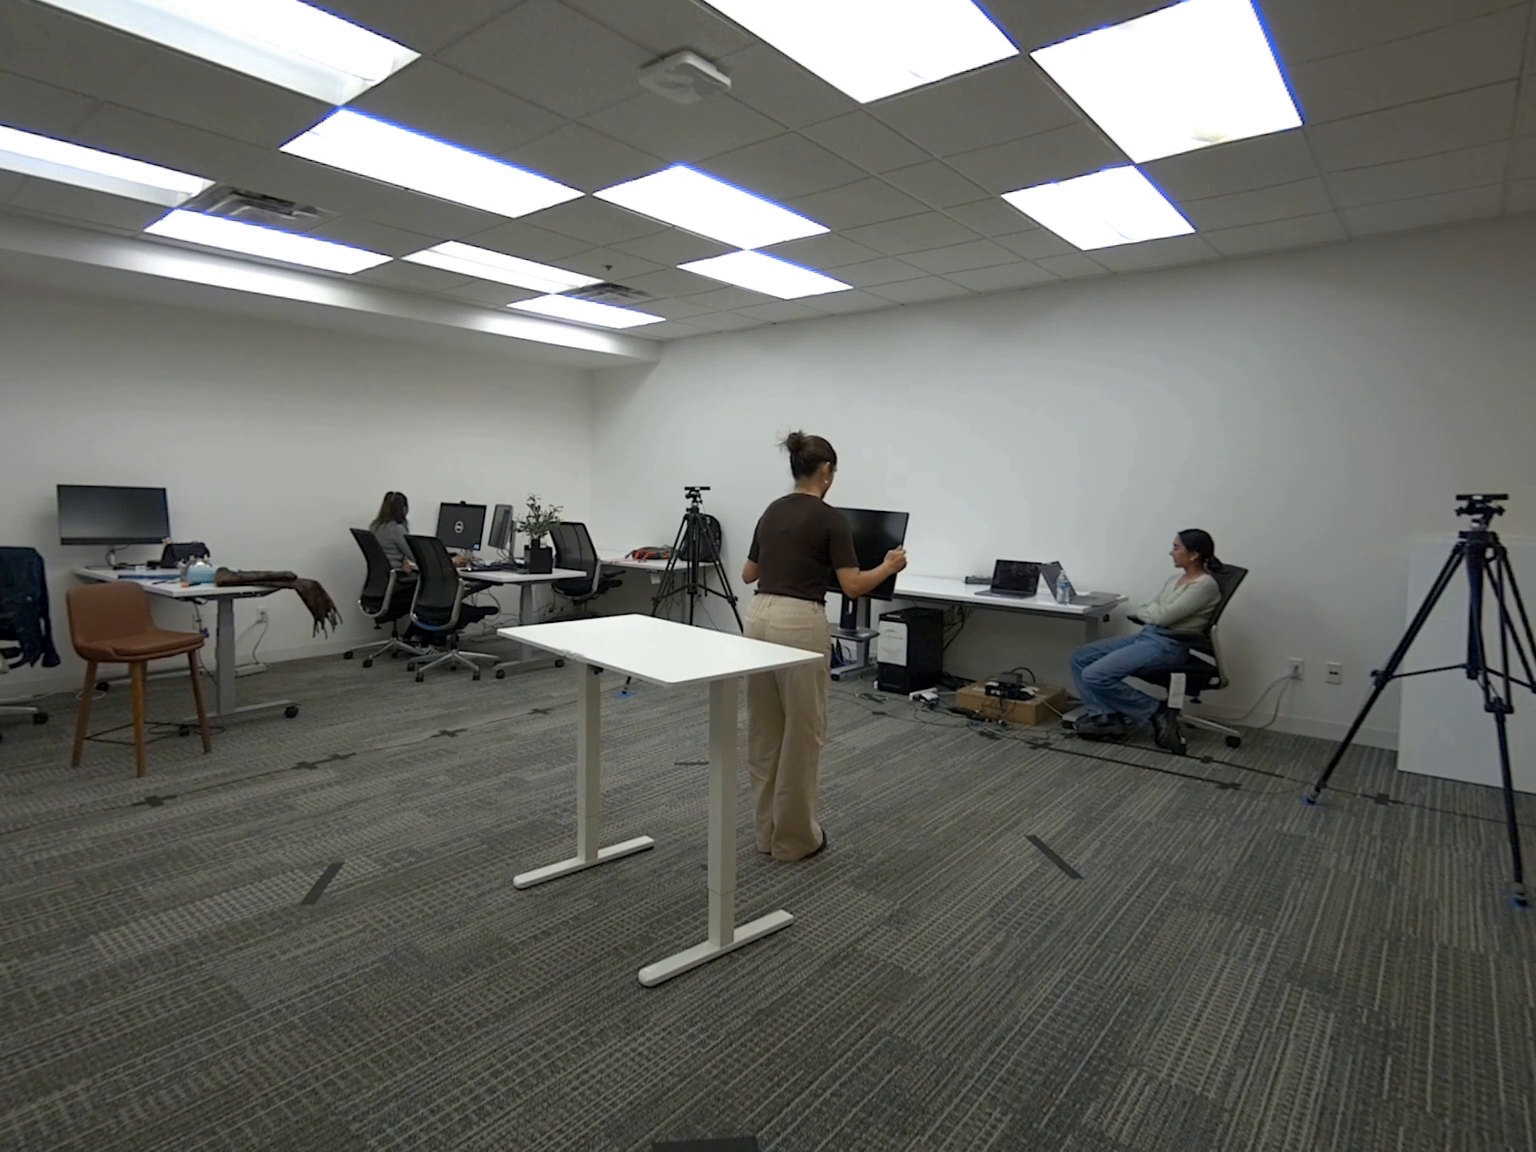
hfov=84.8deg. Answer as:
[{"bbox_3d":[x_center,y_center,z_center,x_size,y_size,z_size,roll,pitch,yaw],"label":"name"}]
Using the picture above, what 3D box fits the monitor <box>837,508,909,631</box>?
[{"bbox_3d":[0.309,-0.020,3.467,0.558,0.520,0.182,8,8,38],"label":"monitor"}]
